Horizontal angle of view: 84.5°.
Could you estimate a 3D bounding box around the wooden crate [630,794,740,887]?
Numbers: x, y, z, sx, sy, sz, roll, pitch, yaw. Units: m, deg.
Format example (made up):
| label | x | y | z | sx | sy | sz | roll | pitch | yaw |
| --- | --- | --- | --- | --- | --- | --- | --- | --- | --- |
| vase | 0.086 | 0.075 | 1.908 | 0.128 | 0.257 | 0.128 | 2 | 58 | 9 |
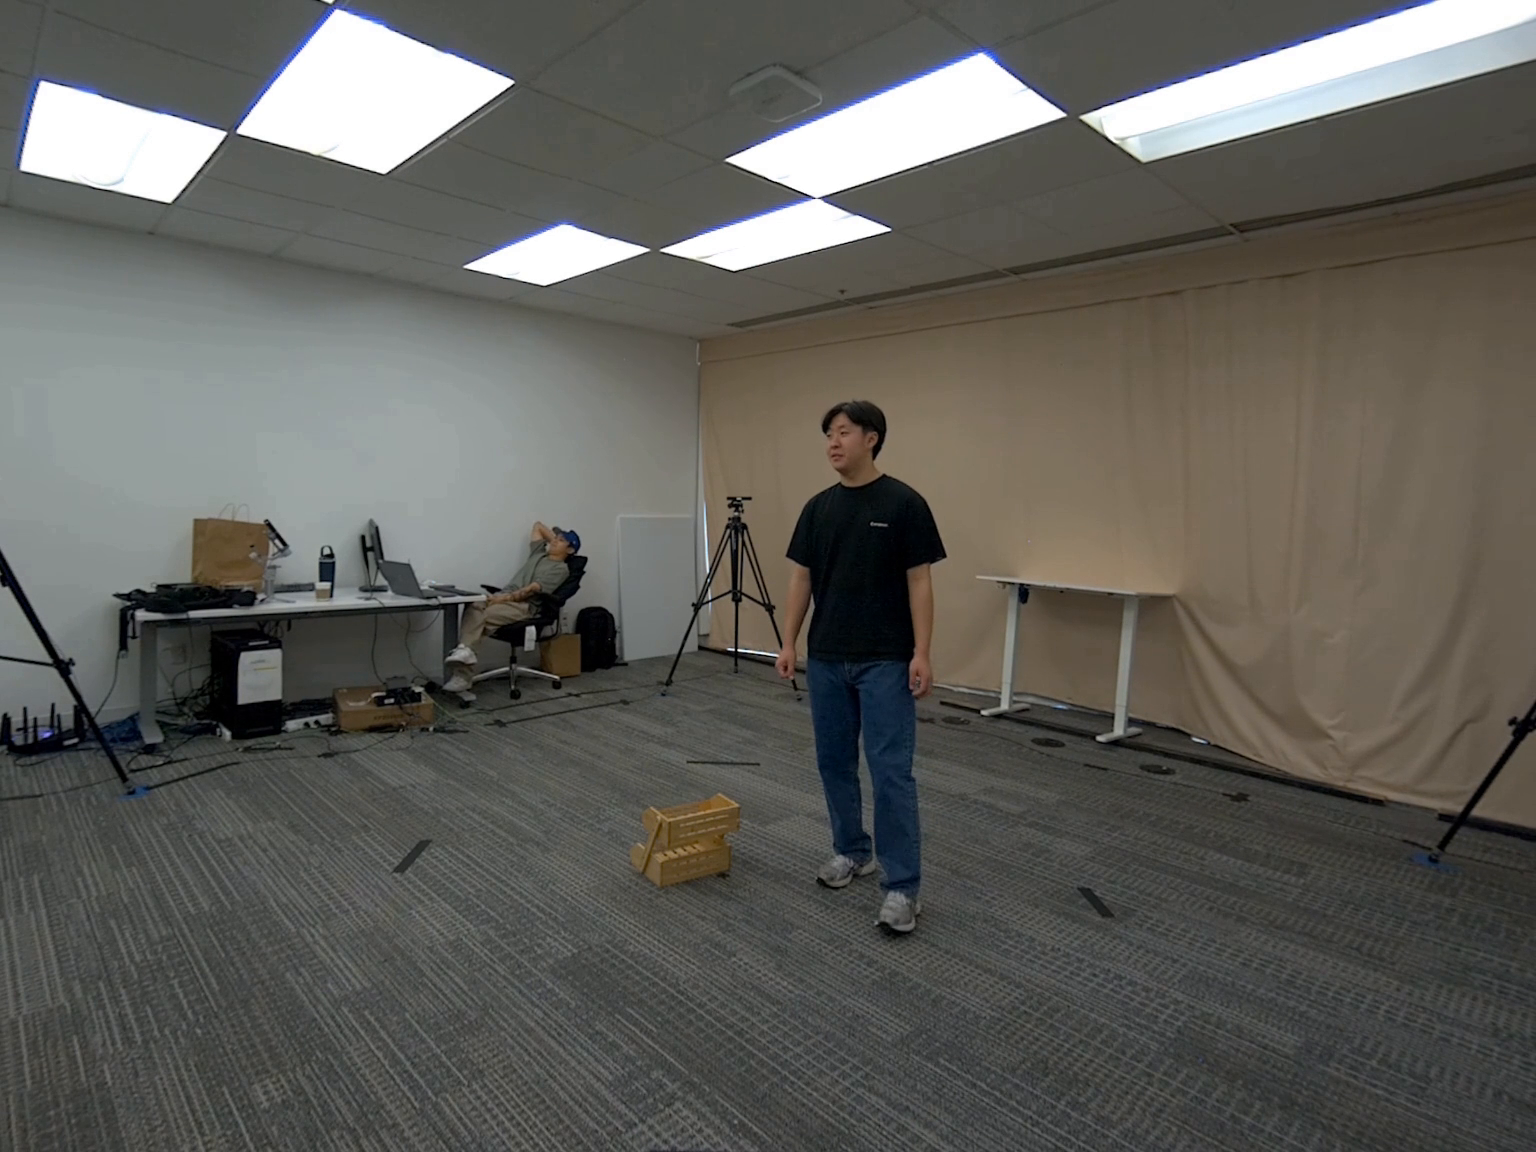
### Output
| label | x | y | z | sx | sy | sz | roll | pitch | yaw |
| --- | --- | --- | --- | --- | --- | --- | --- | --- | --- |
| wooden crate | -0.318 | 0.962 | 3.158 | 0.317 | 0.272 | 0.309 | -2 | 5 | -34 |
